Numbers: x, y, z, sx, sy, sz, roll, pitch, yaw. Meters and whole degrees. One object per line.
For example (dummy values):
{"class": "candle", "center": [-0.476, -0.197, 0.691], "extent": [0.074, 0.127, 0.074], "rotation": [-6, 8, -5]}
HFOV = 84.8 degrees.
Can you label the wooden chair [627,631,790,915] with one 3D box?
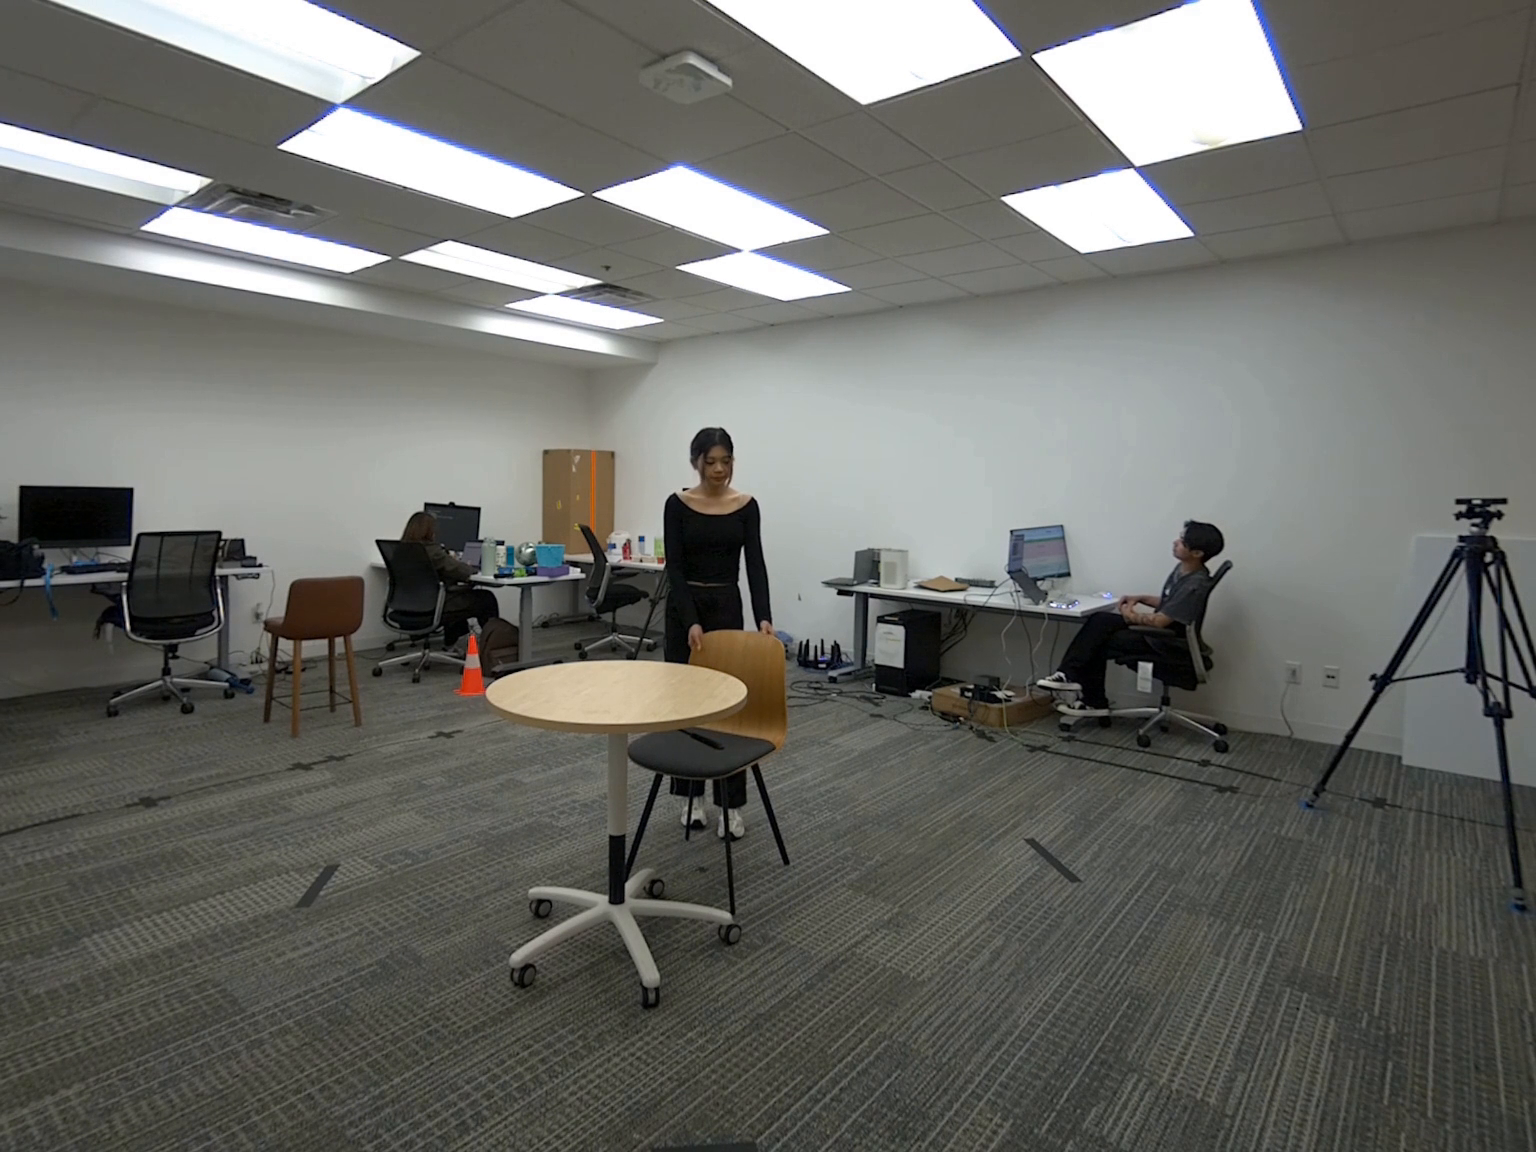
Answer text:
{"class": "wooden chair", "center": [-0.217, 0.644, 3.045], "extent": [0.491, 0.878, 0.508], "rotation": [3, -1, 28]}
